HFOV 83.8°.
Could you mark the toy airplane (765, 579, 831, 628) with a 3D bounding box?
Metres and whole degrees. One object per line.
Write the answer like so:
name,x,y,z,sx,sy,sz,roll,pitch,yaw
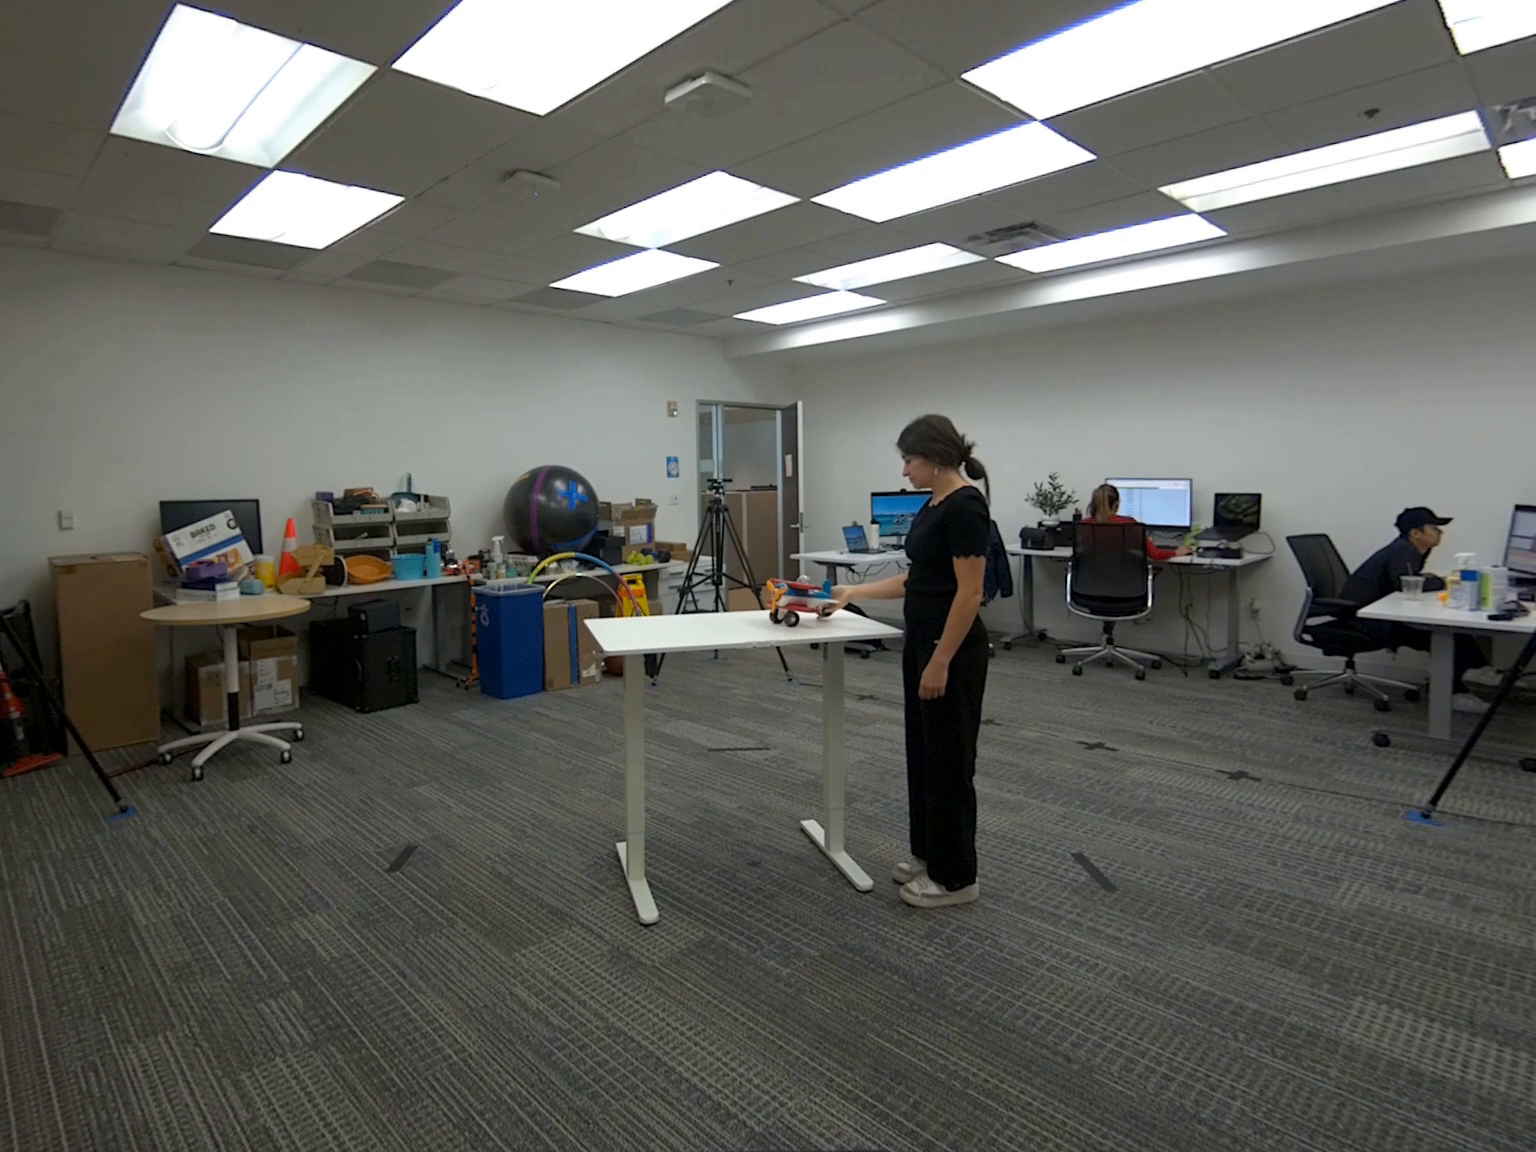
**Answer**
toy airplane,0.115,0.082,3.060,0.257,0.155,0.255,1,11,28
